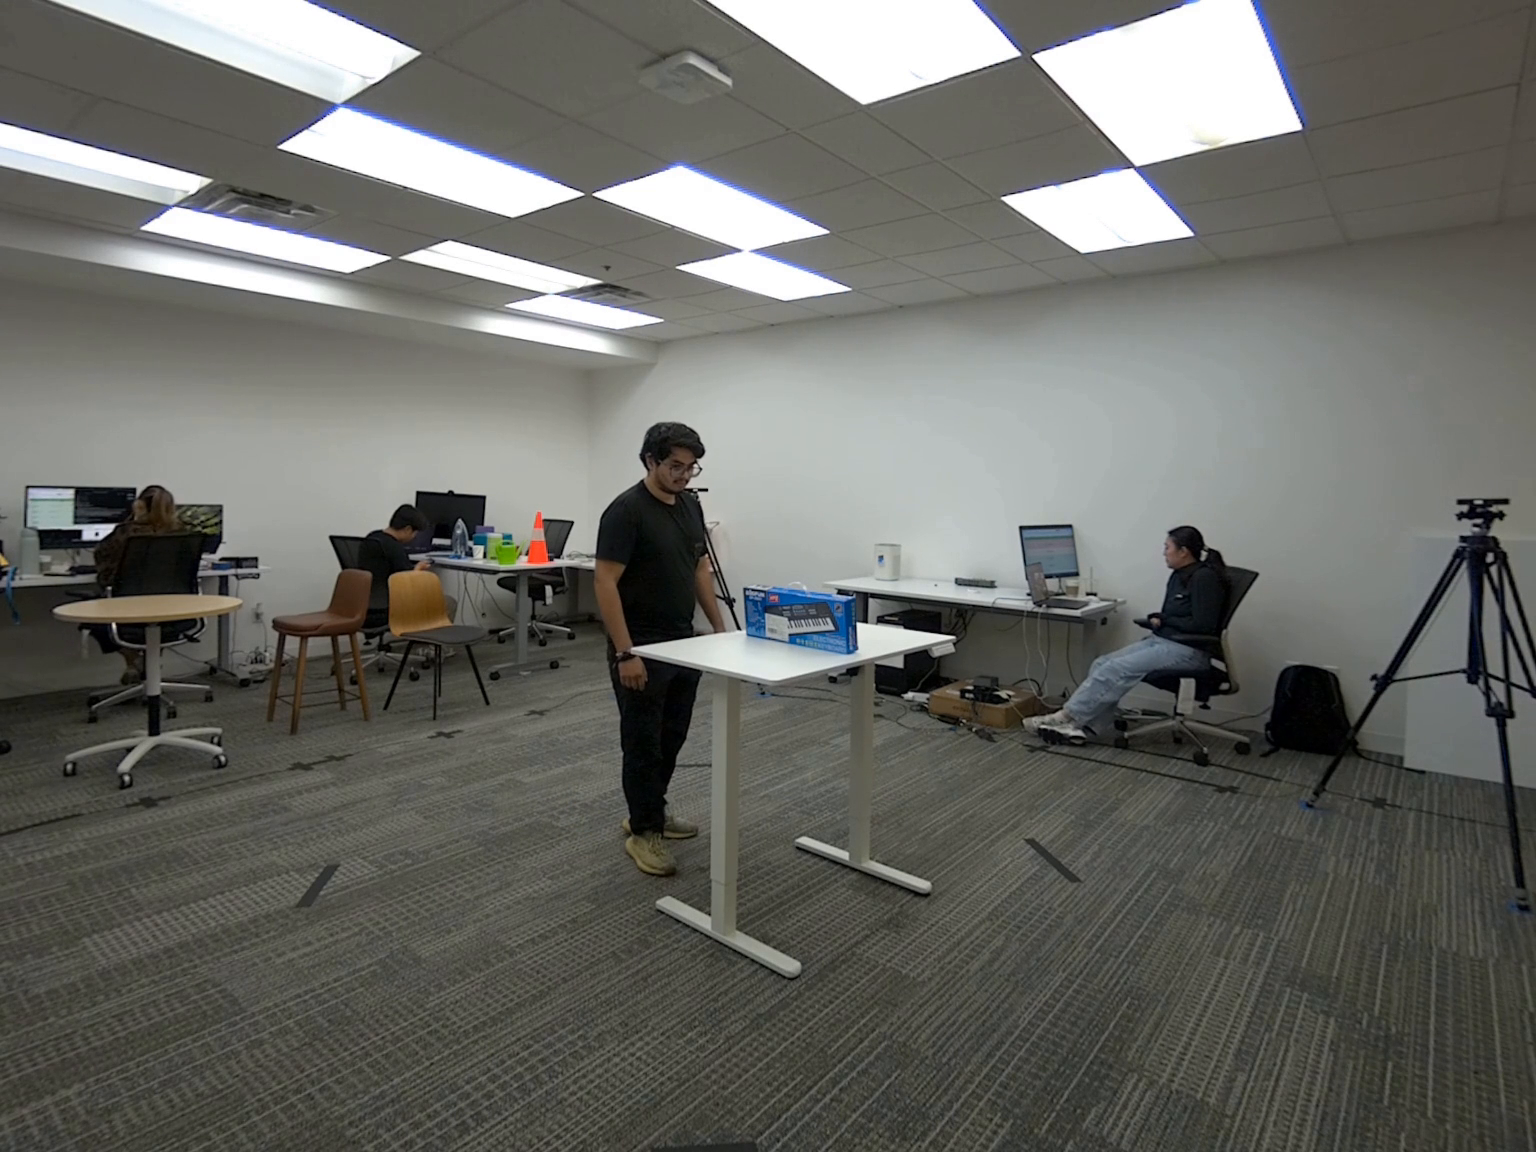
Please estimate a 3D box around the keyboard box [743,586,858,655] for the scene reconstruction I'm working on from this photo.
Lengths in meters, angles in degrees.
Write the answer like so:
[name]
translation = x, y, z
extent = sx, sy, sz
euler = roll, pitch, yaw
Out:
[keyboard box]
translation = 0.091, 0.137, 2.801
extent = 0.452, 0.174, 0.057
euler = 6, 12, 43
